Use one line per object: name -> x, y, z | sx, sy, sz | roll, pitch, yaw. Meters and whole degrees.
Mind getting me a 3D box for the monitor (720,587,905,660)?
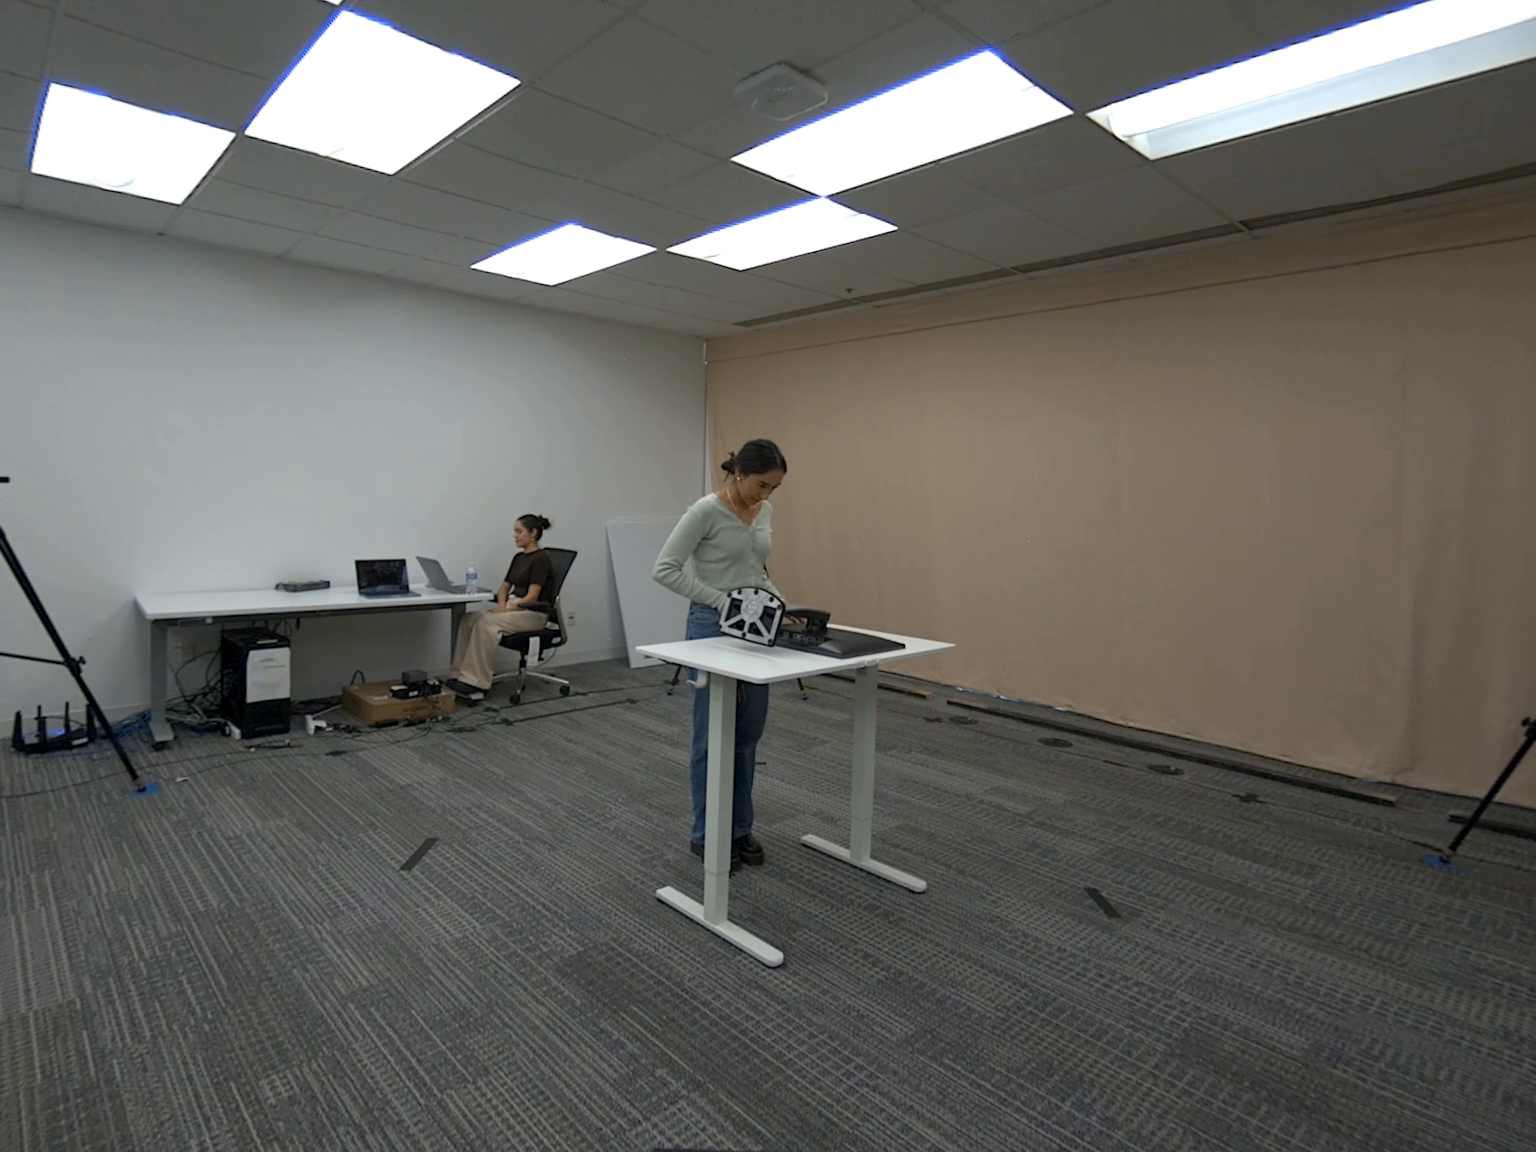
monitor -> 0.105, 0.181, 2.948 | 0.507, 0.187, 0.554 | 17, -4, -43
